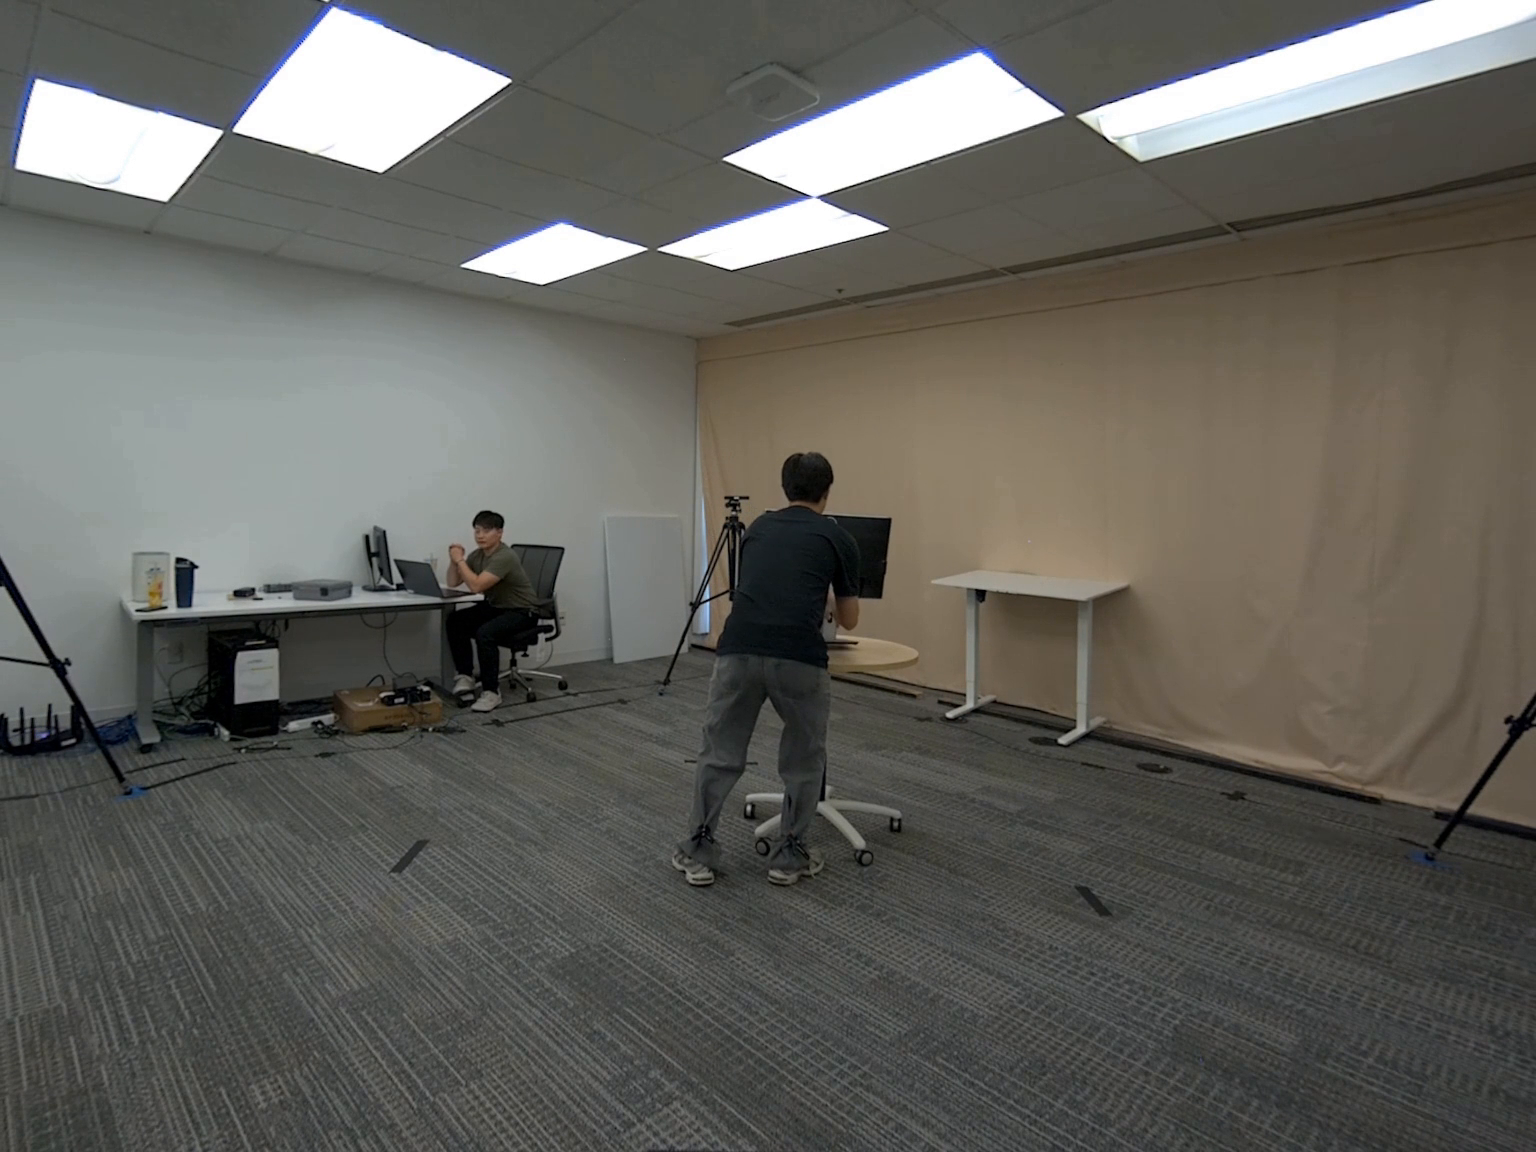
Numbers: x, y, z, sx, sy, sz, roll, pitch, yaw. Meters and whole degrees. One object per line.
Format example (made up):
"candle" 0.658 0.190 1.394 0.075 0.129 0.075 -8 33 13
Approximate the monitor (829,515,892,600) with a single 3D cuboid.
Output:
"monitor" 0.241 0.015 3.528 0.557 0.567 0.223 3 -4 -9
